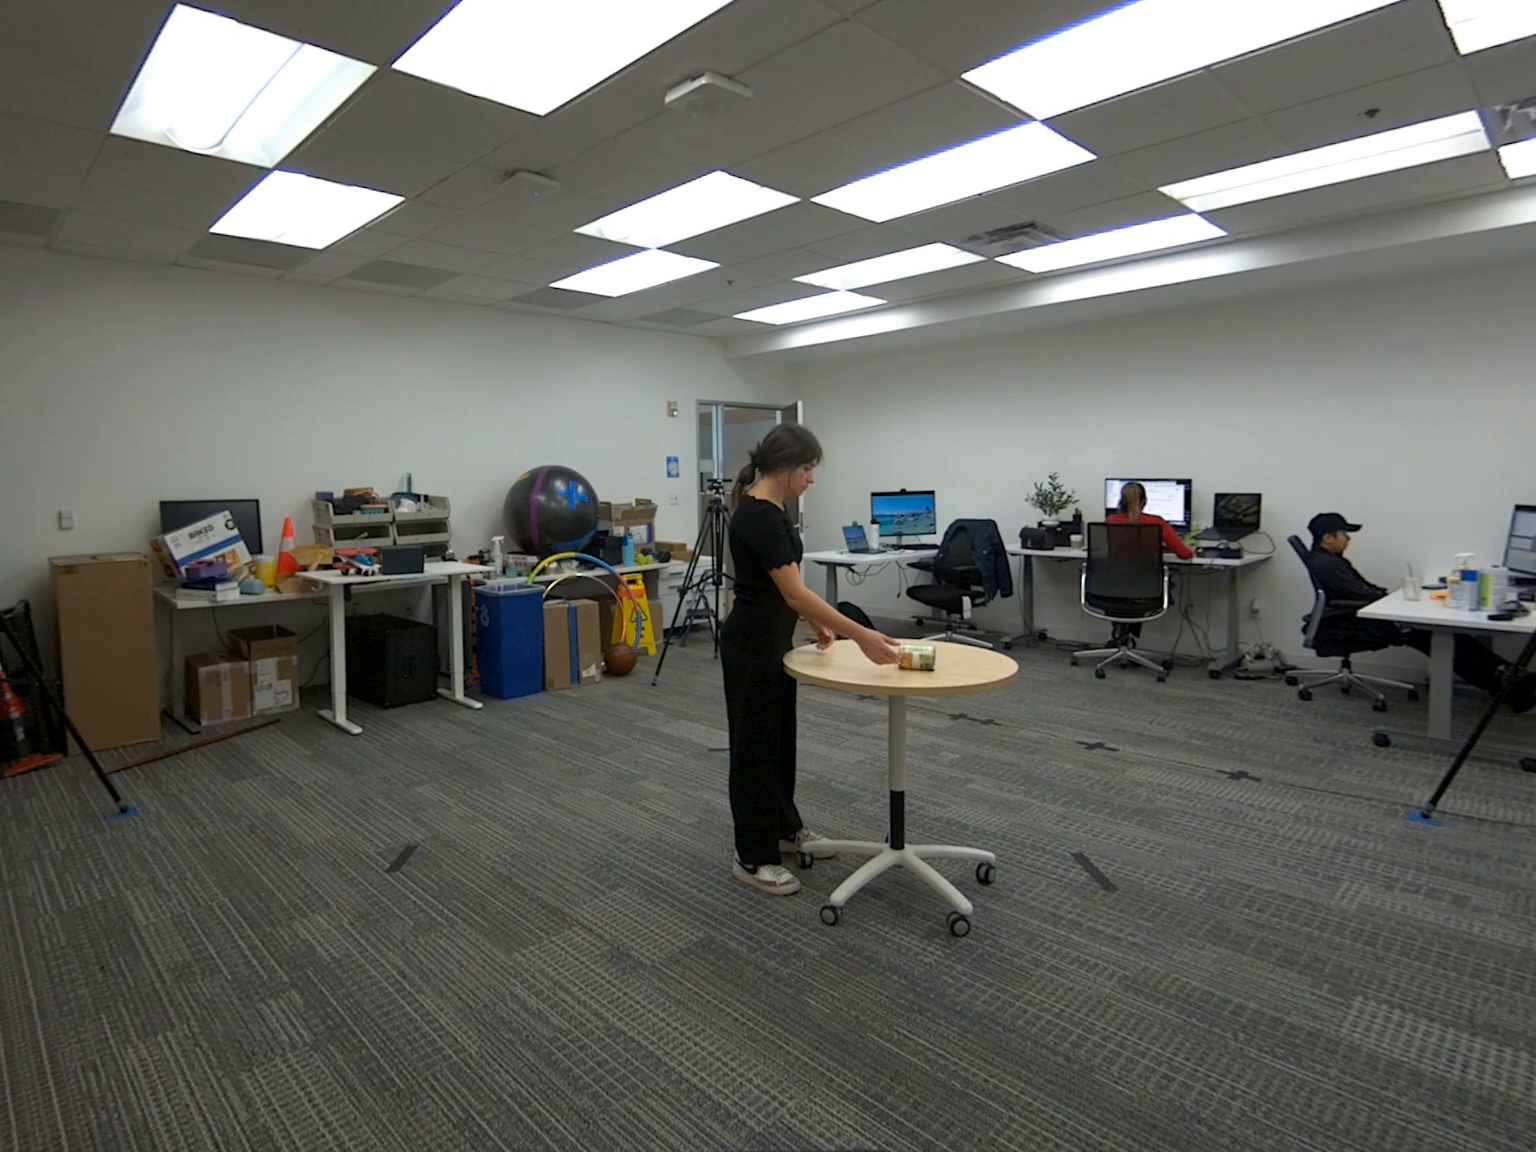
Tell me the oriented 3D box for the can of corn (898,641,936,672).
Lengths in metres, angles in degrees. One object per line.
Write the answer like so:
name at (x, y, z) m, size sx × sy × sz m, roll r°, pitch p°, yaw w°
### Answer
can of corn at (0.478, 0.257, 2.711) m, size 0.112 × 0.074 × 0.074 m, roll -3°, pitch 4°, yaw 11°
